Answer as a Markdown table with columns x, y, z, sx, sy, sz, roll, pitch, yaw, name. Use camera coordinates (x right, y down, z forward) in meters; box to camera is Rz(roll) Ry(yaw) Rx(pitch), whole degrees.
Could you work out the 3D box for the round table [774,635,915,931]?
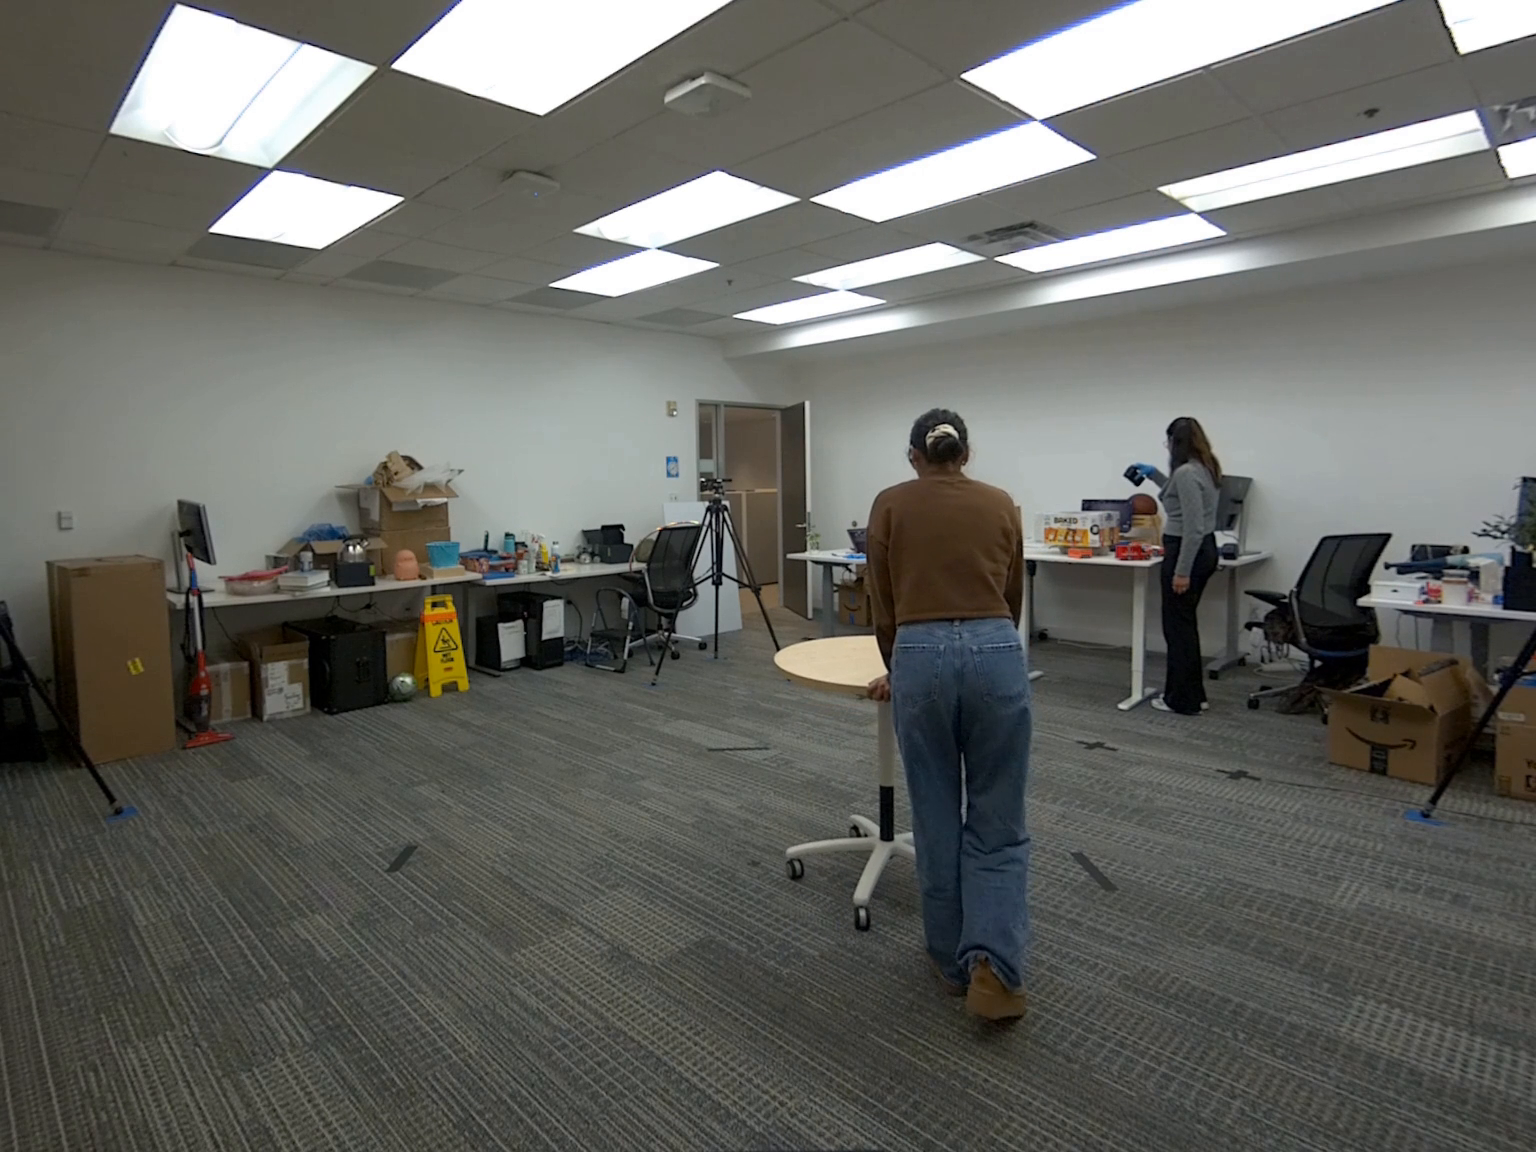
| x | y | z | sx | sy | sz | roll | pitch | yaw | name |
| --- | --- | --- | --- | --- | --- | --- | --- | --- | --- |
| 0.416 | 0.672 | 2.939 | 0.763 | 0.790 | 0.768 | -1 | 5 | -2 | round table |
